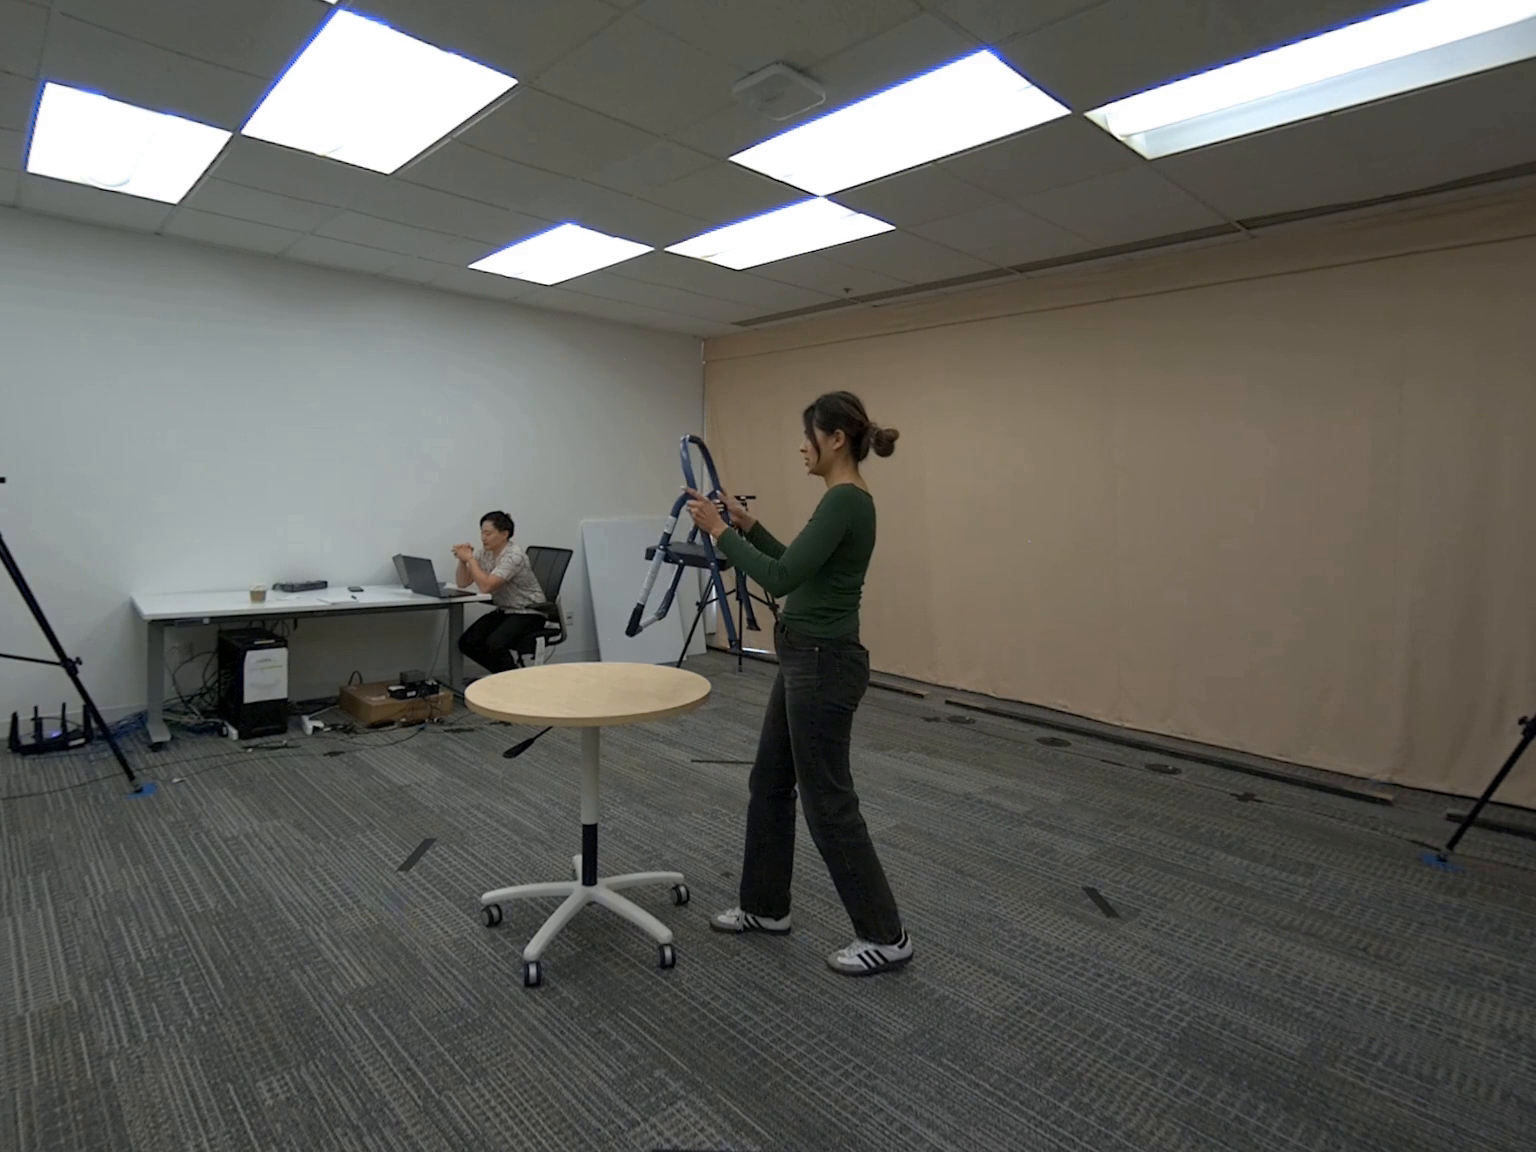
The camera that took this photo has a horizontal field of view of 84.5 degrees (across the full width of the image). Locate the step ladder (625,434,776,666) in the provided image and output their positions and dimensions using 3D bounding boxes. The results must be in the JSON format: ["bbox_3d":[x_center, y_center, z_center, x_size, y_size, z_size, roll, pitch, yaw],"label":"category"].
[{"bbox_3d":[-0.193,-0.115,2.554,0.351,0.604,0.429,6,5,6],"label":"step ladder"}]
